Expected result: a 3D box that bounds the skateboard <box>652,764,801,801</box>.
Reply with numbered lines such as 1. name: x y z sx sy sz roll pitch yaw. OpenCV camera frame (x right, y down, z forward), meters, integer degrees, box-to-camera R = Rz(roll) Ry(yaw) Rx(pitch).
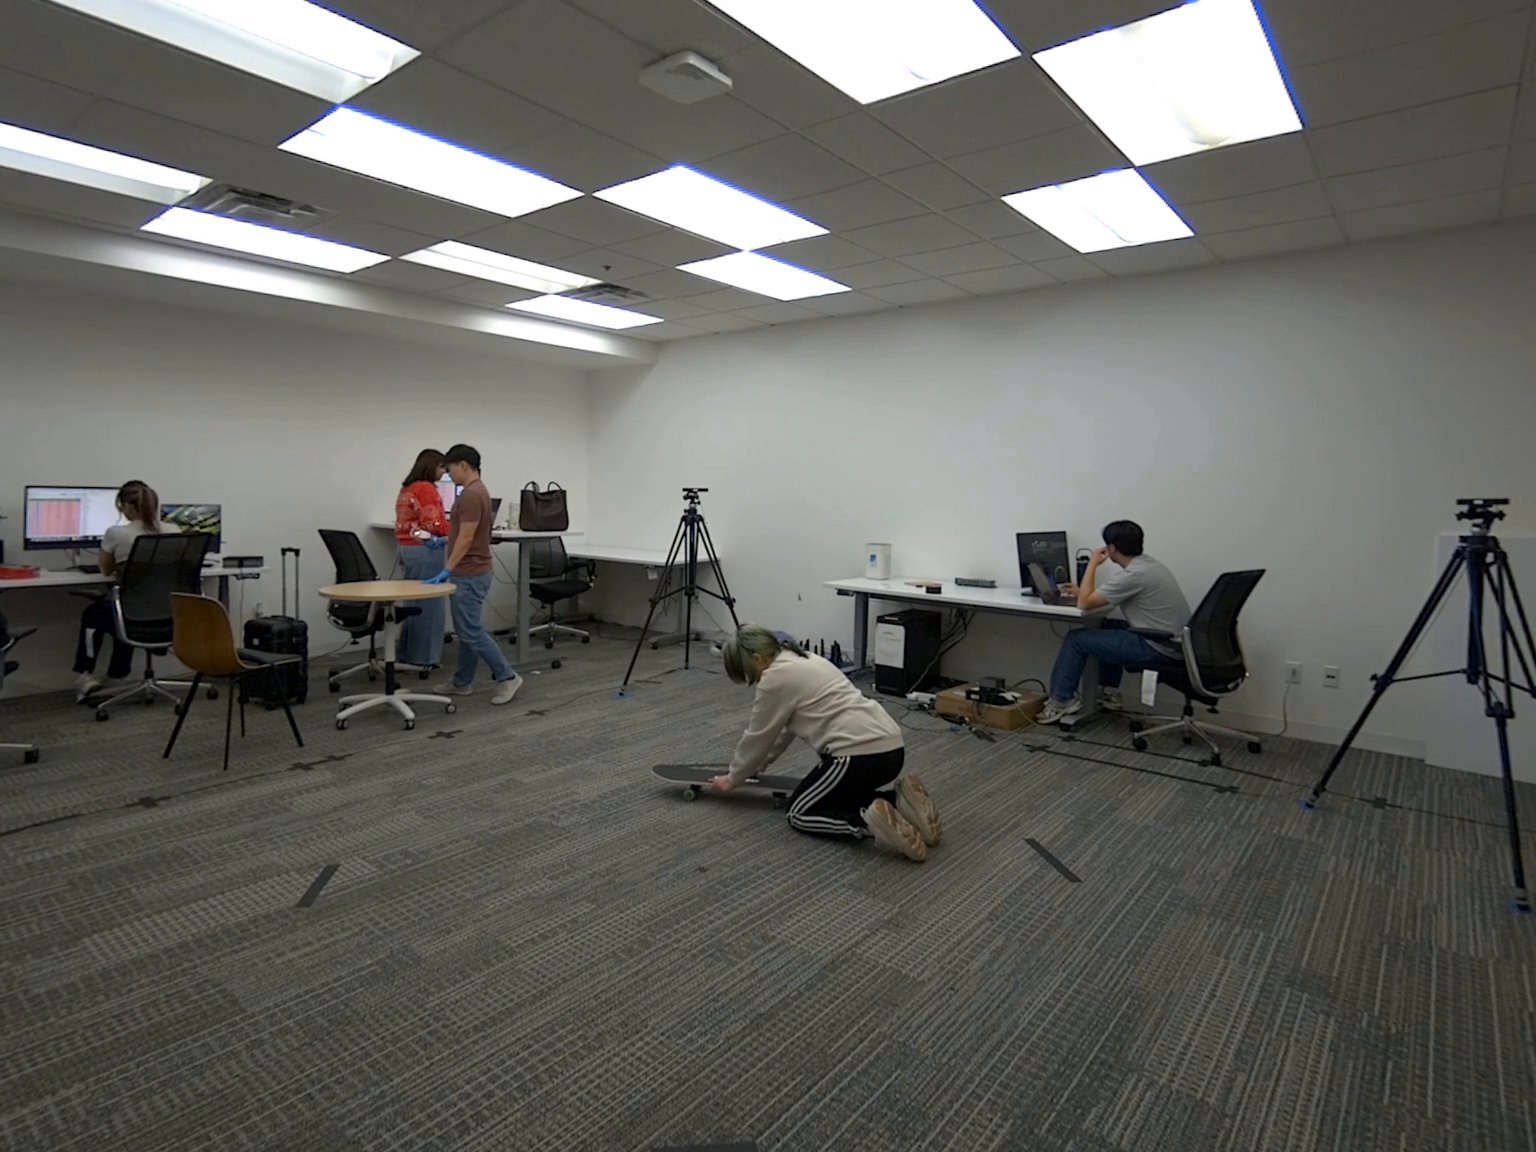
1. skateboard: -0.157 0.940 3.836 0.793 0.110 0.192 3 5 8
